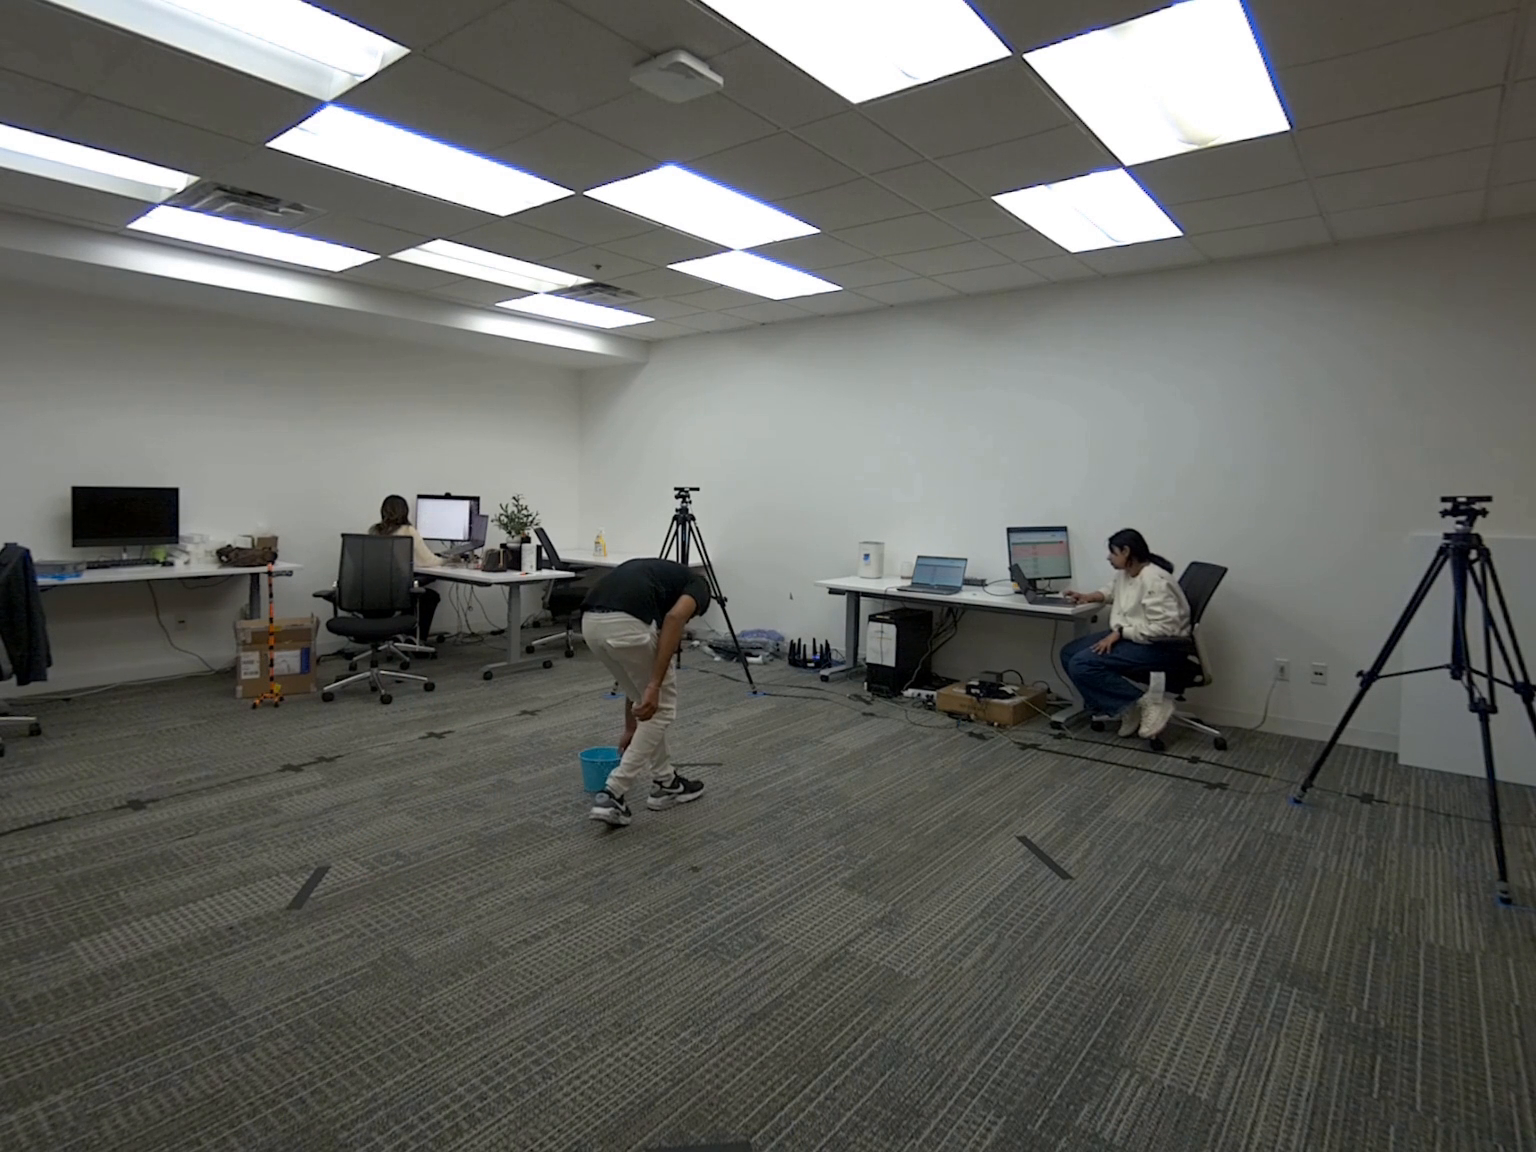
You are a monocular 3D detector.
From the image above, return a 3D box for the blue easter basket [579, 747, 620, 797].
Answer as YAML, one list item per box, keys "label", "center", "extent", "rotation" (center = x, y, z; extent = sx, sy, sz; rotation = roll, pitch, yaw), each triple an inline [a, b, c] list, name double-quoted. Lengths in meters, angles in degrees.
- label: "blue easter basket"
  center: [-0.771, 0.898, 3.944]
  extent: [0.243, 0.155, 0.245]
  rotation: [1, 4, -2]
